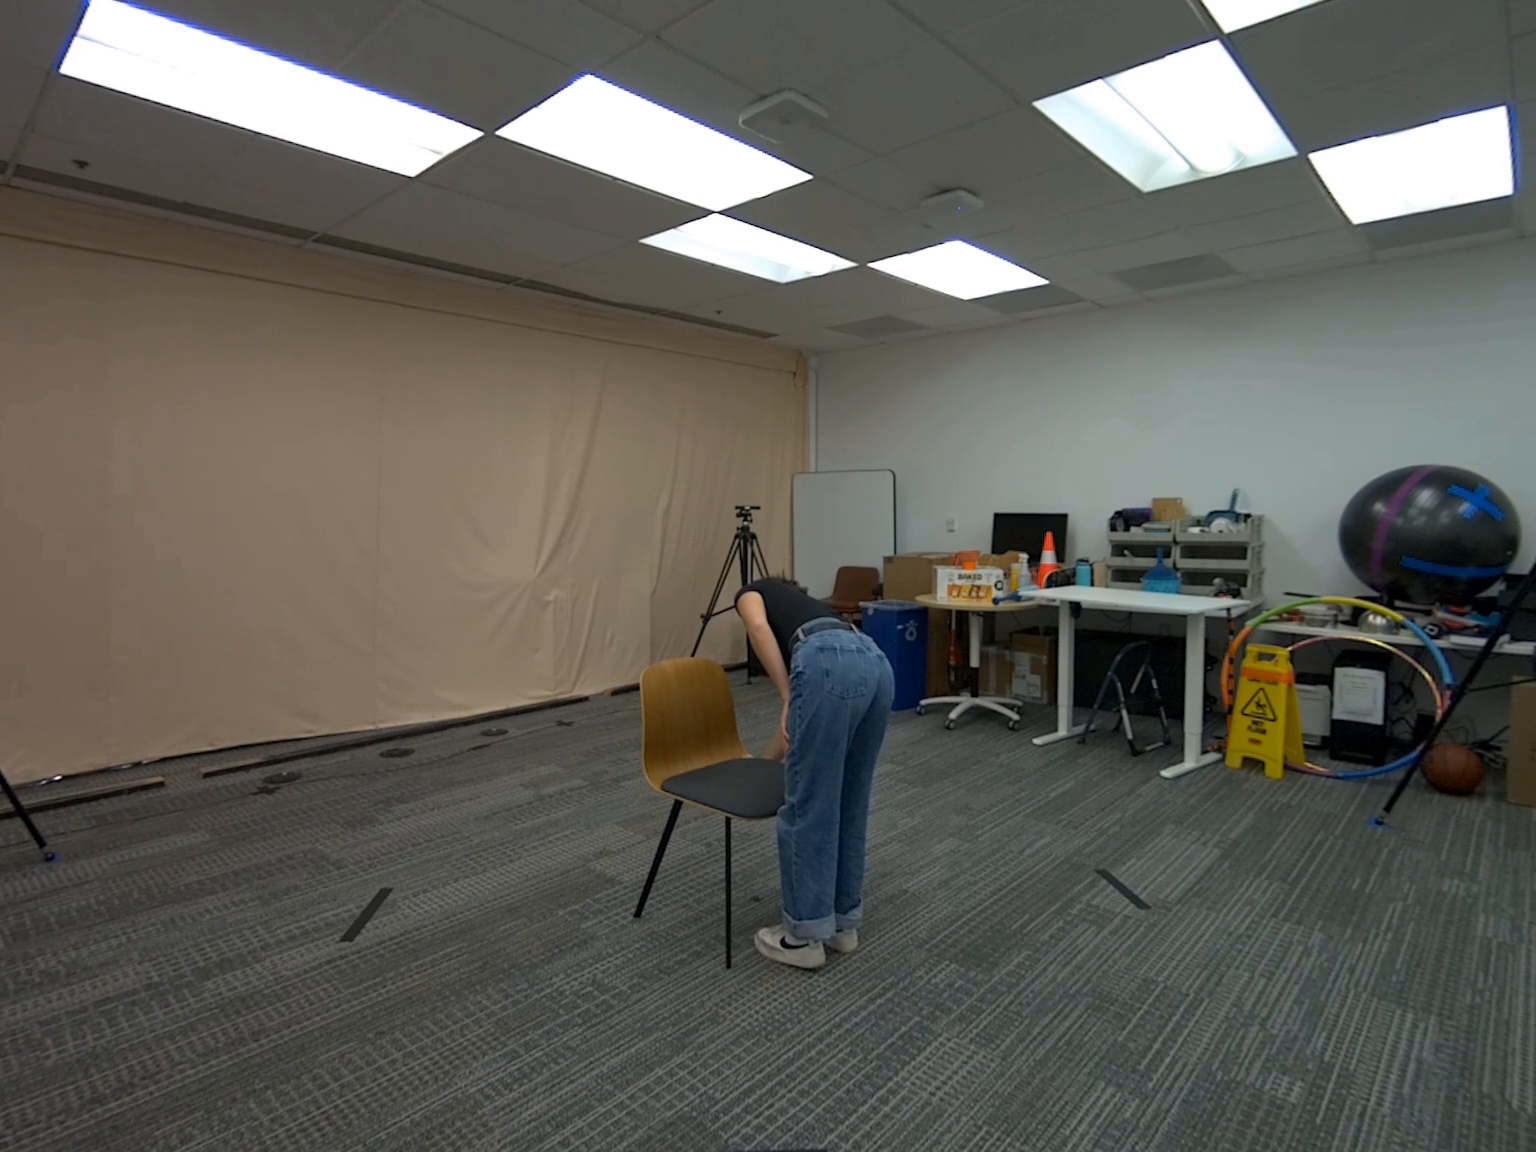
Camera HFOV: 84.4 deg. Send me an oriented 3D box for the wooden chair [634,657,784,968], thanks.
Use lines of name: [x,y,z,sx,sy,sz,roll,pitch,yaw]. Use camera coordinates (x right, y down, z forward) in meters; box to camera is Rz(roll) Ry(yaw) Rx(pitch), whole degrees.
wooden chair: [-0.134,0.734,2.812,0.540,0.877,0.463,-2,0,44]
